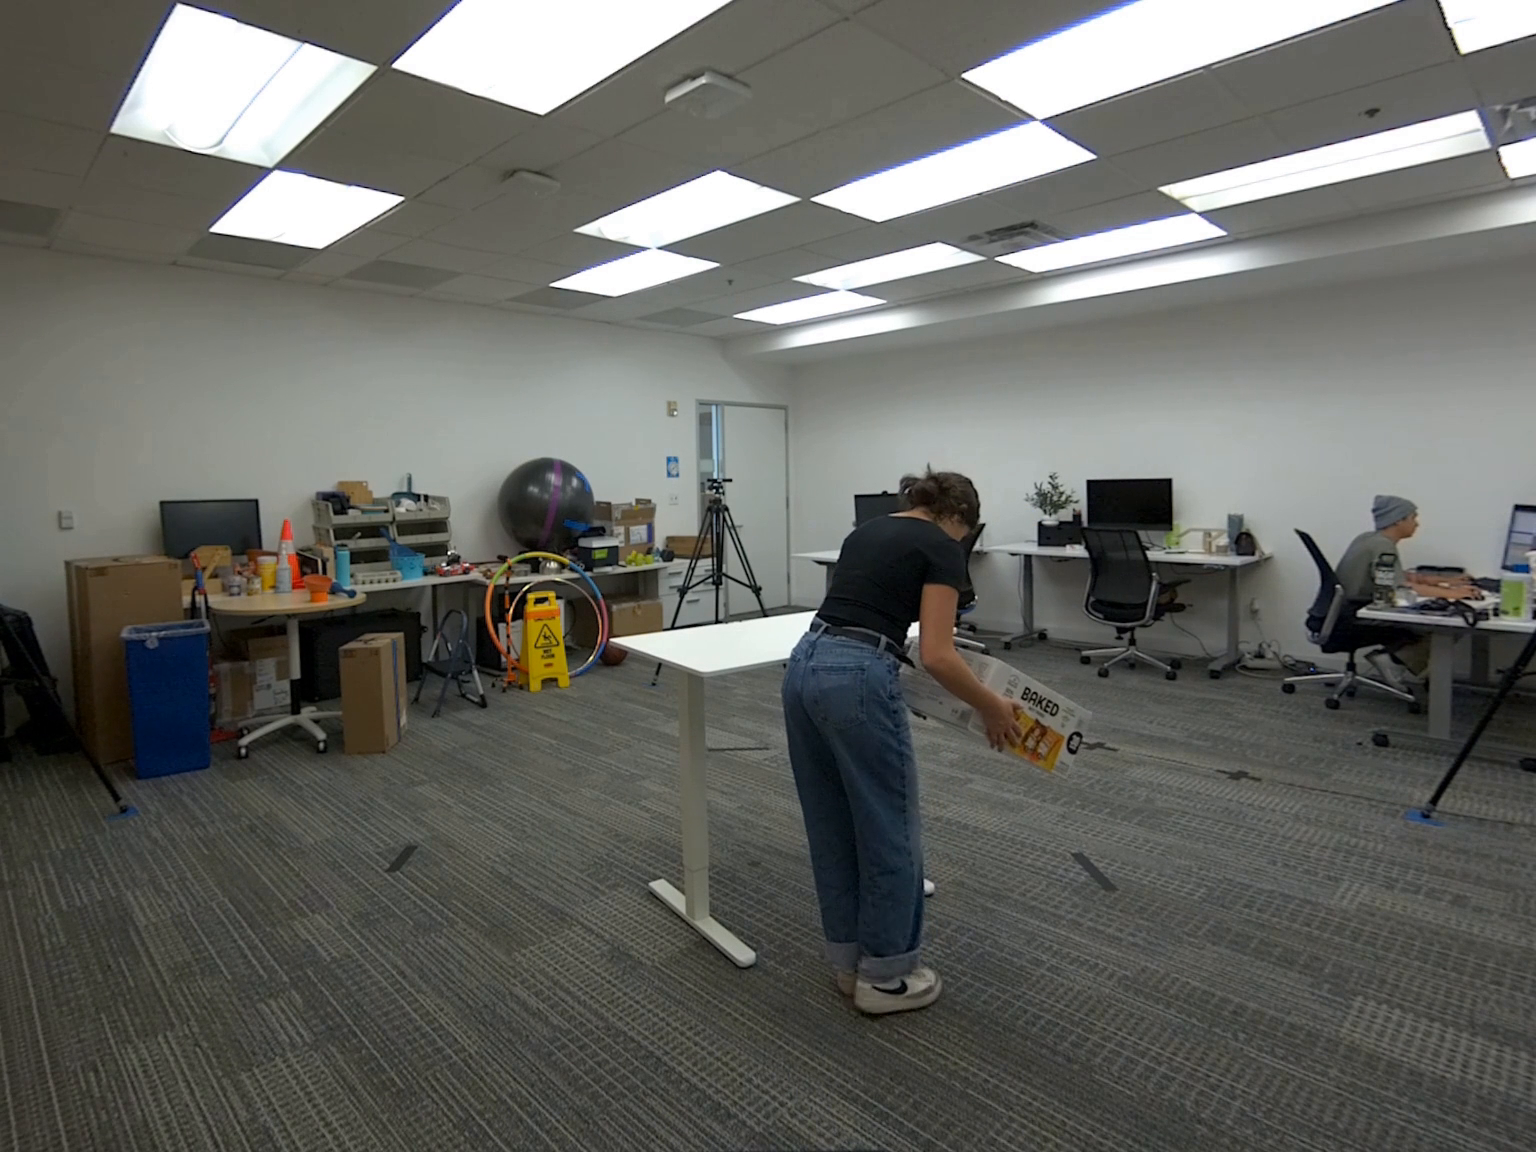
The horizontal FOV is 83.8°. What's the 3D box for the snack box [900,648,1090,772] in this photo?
[{"bbox_3d":[0.633,0.368,2.436,0.393,0.206,0.349,29,-7,-26],"label":"snack box"}]
